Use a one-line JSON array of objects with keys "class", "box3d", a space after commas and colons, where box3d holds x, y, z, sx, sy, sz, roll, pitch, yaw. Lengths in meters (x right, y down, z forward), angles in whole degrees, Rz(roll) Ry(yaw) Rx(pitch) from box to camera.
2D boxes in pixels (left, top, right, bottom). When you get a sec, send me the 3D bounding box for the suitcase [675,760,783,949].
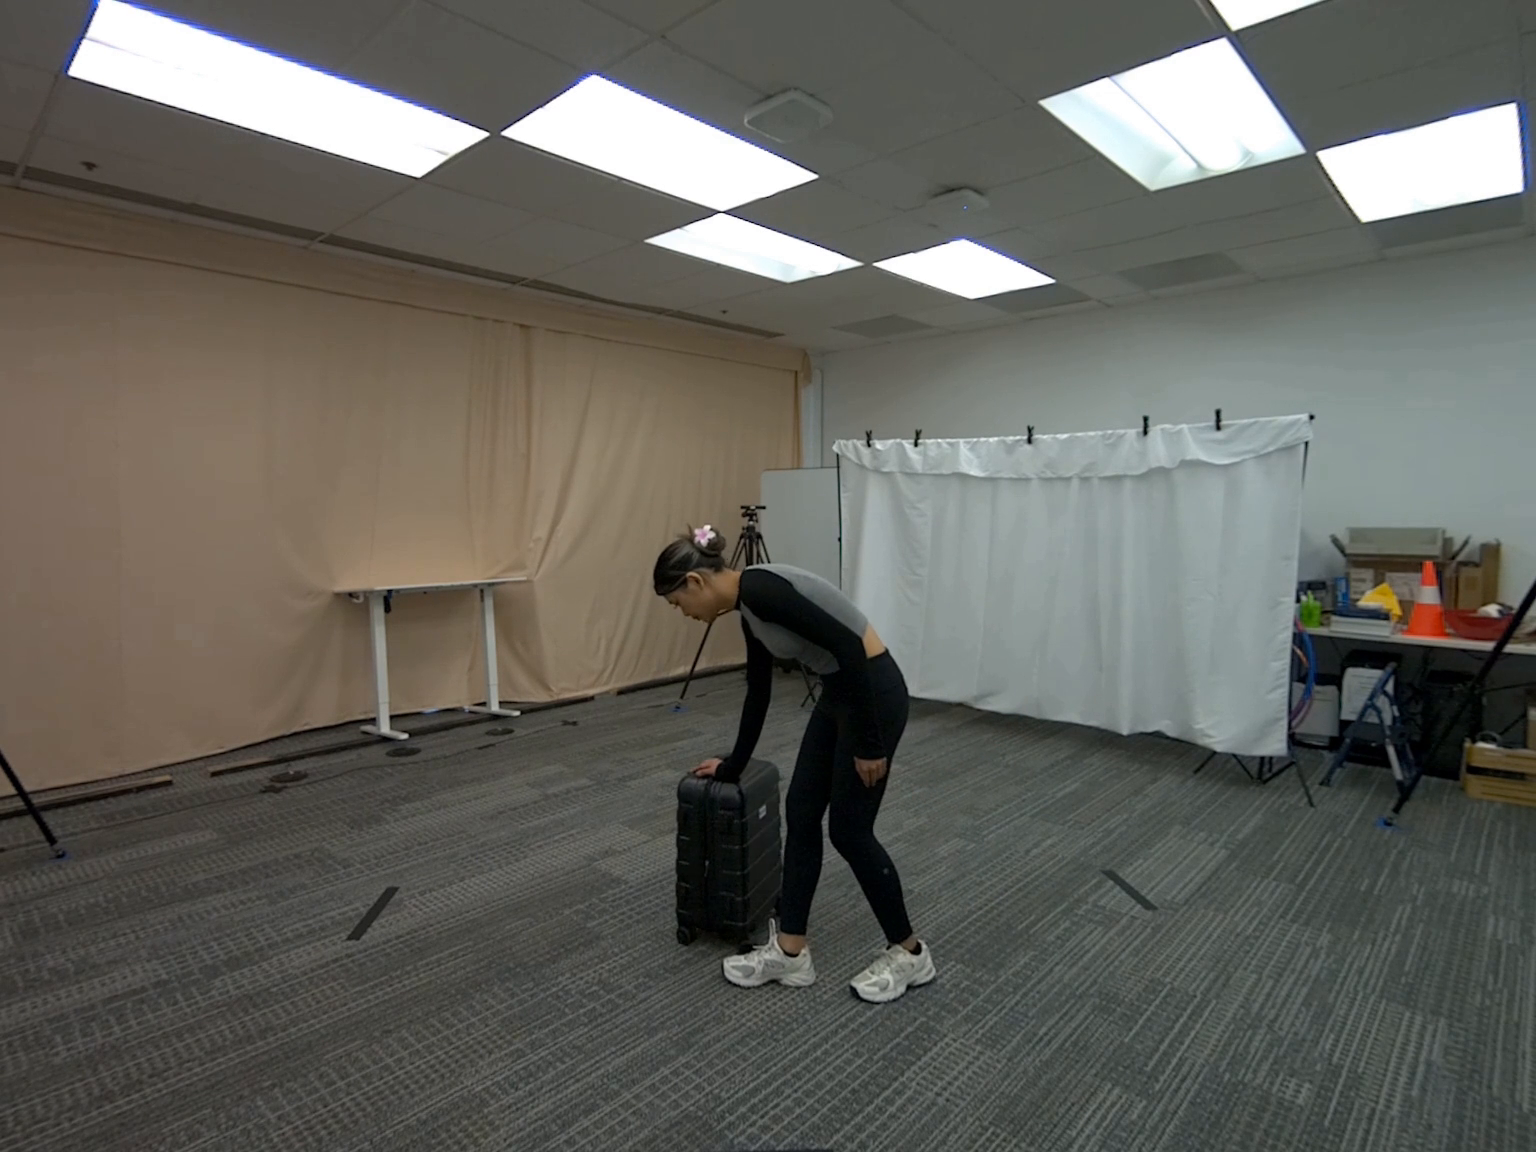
[{"class": "suitcase", "box3d": [-0.120, 0.886, 2.774, 0.254, 0.548, 0.367, 0, 3, 24]}]
